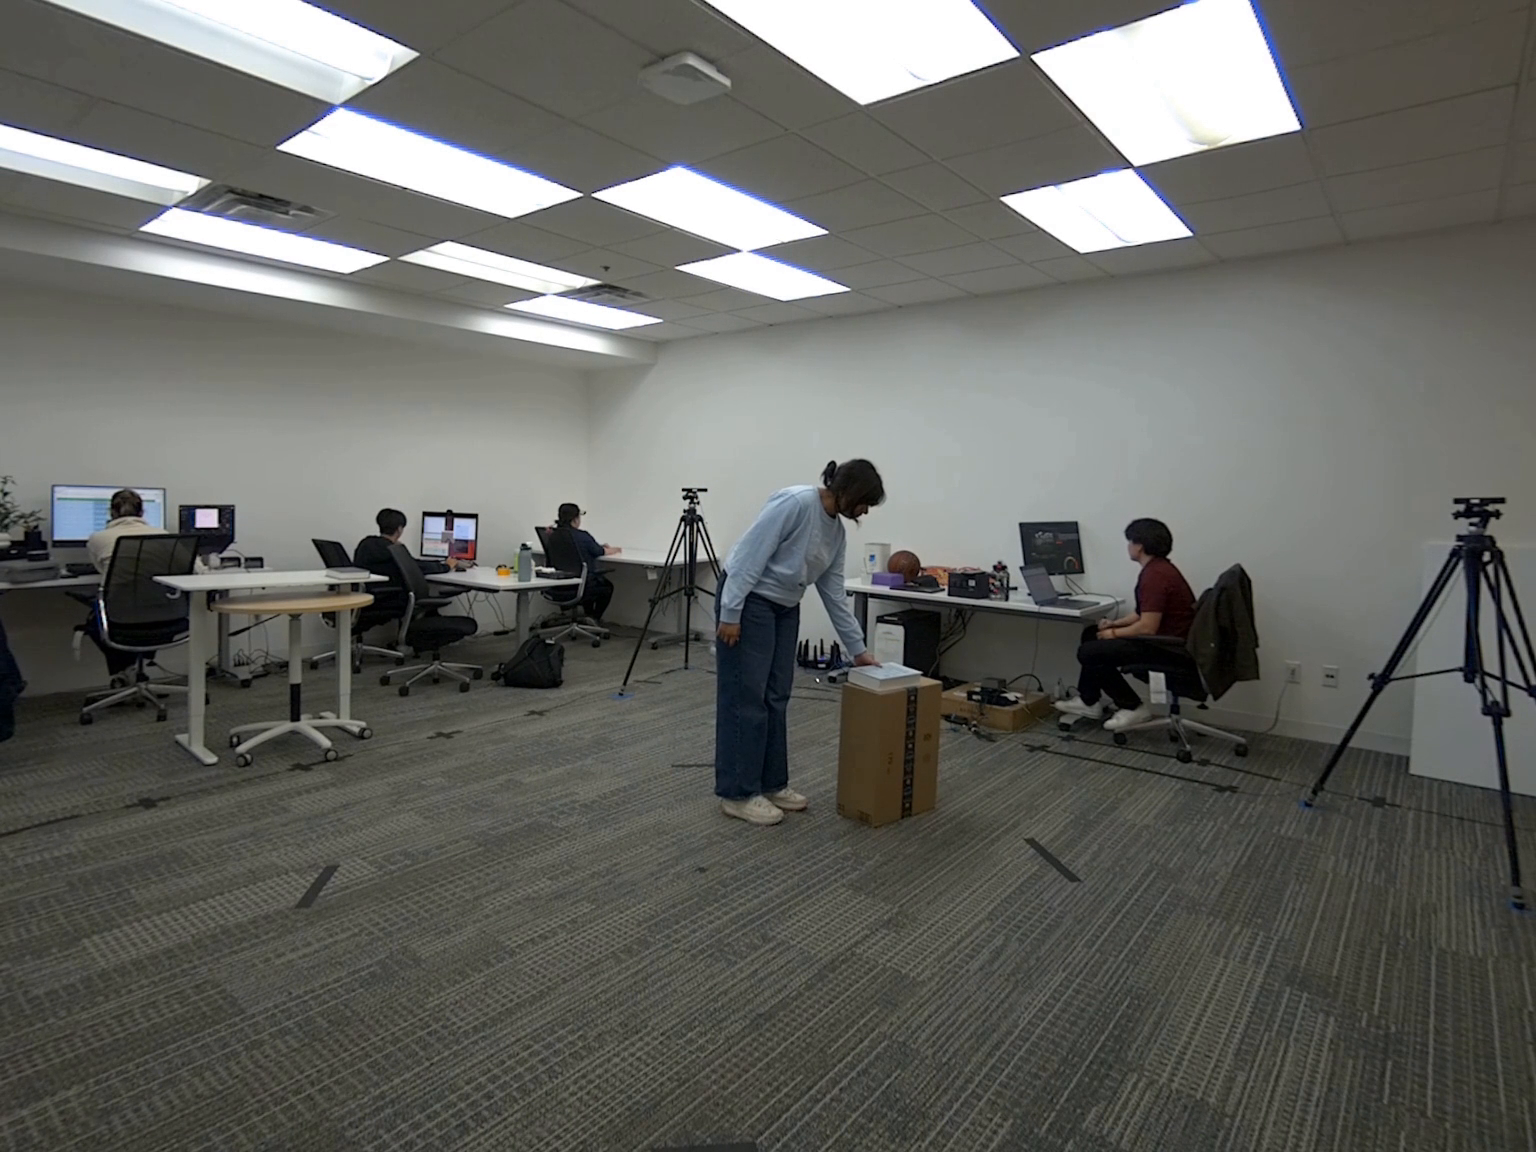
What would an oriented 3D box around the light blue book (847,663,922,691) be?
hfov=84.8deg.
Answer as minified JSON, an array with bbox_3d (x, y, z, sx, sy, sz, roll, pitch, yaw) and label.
[{"bbox_3d":[0.499,0.432,3.670,0.253,0.058,0.198,-3,11,-37],"label":"light blue book"}]
